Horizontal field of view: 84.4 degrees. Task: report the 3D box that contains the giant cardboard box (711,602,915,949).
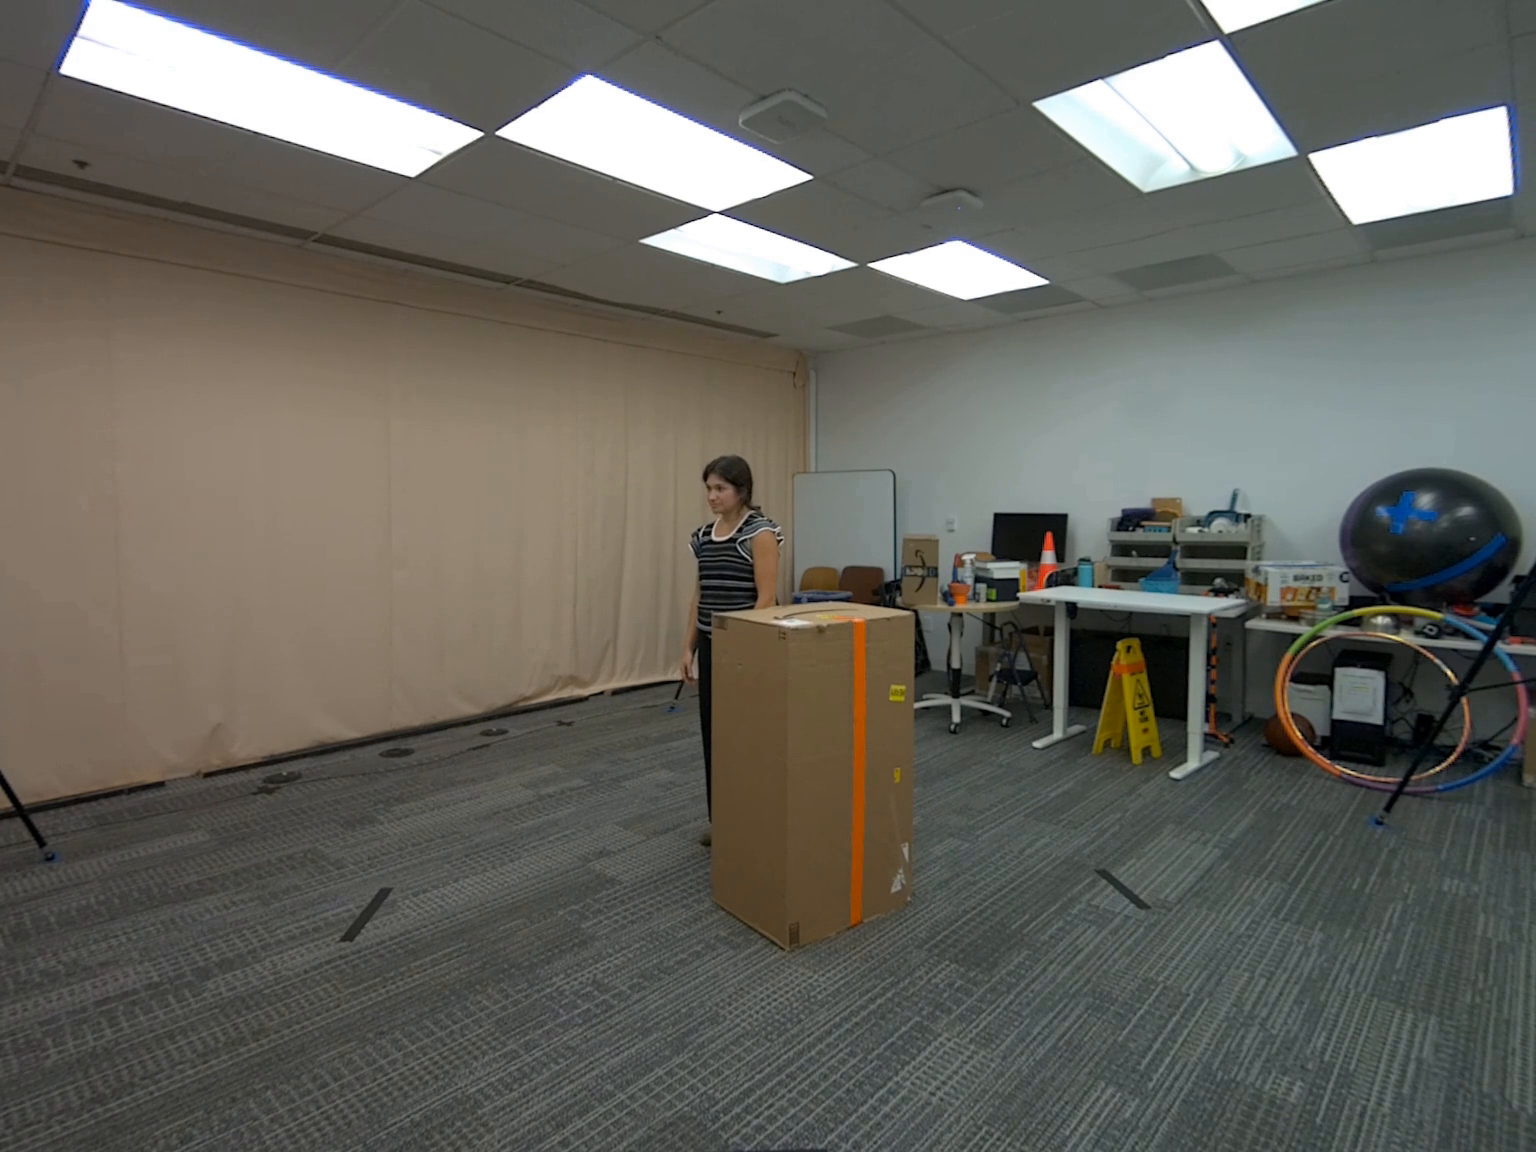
[{"bbox_3d":[0.161,0.638,2.933,0.560,1.024,0.440,-3,4,-38],"label":"giant cardboard box"}]
